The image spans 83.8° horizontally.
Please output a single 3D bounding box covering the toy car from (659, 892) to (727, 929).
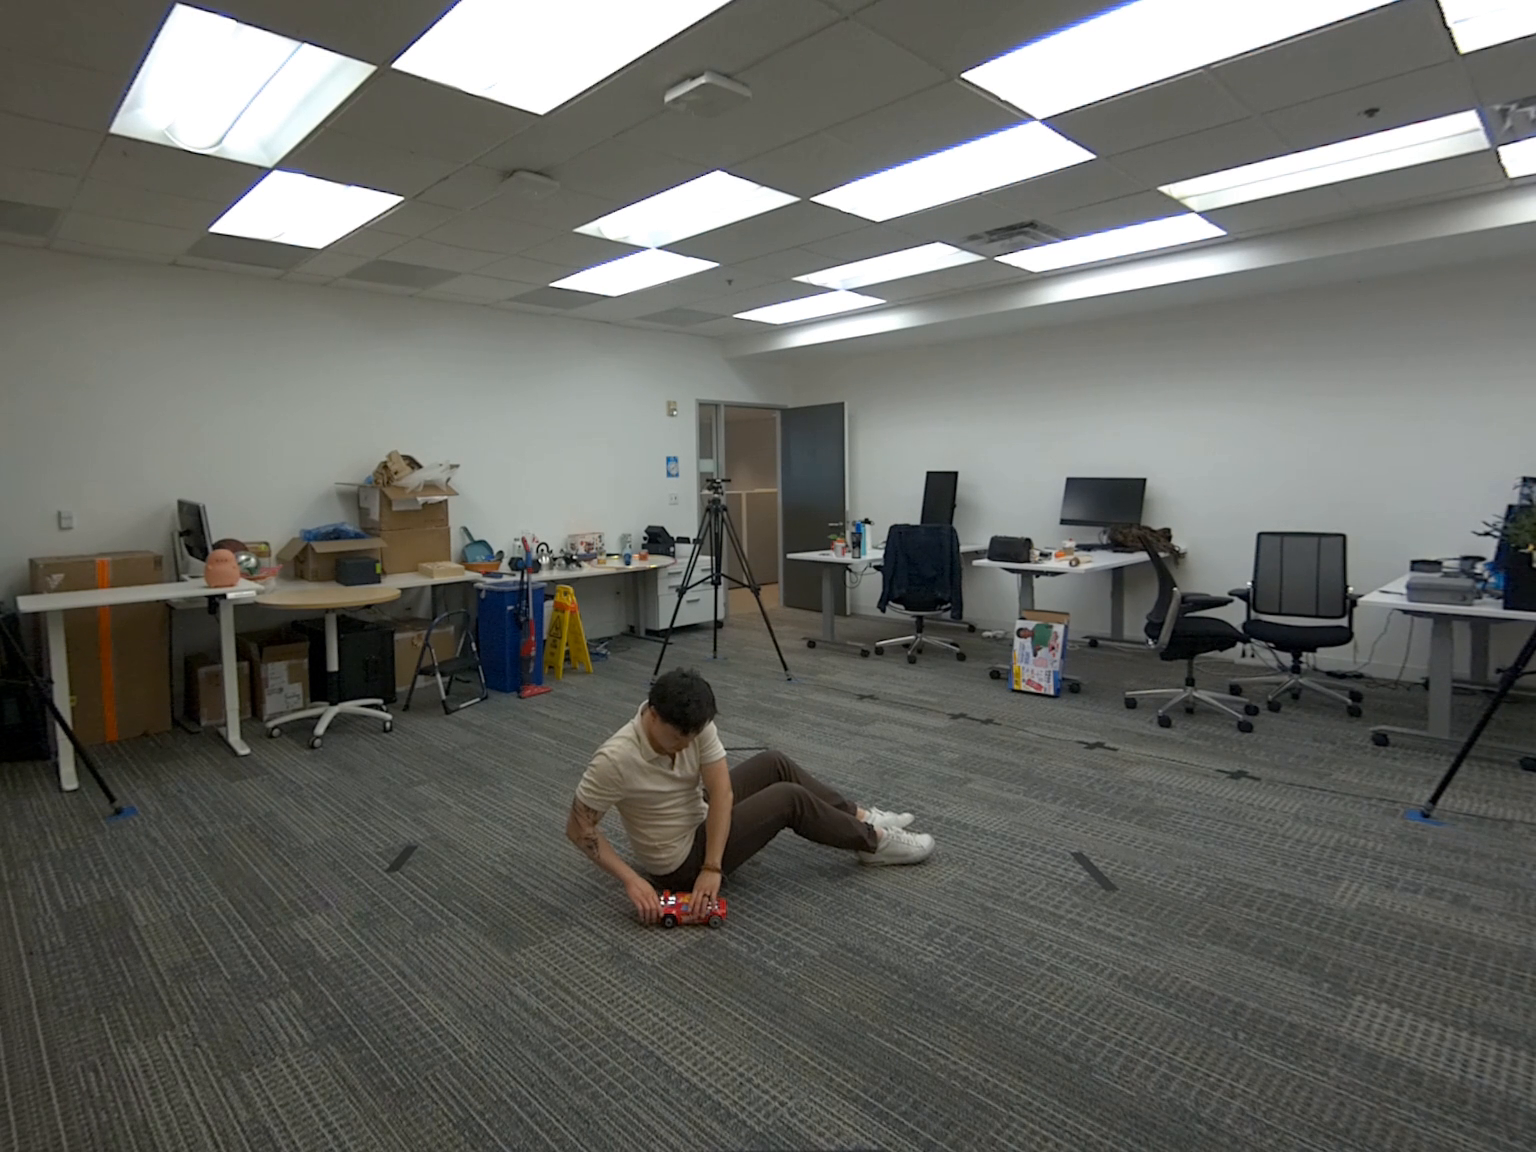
[{"bbox_3d":[-0.269,1.069,2.717,0.253,0.083,0.131,12,7,-4],"label":"toy car"}]
